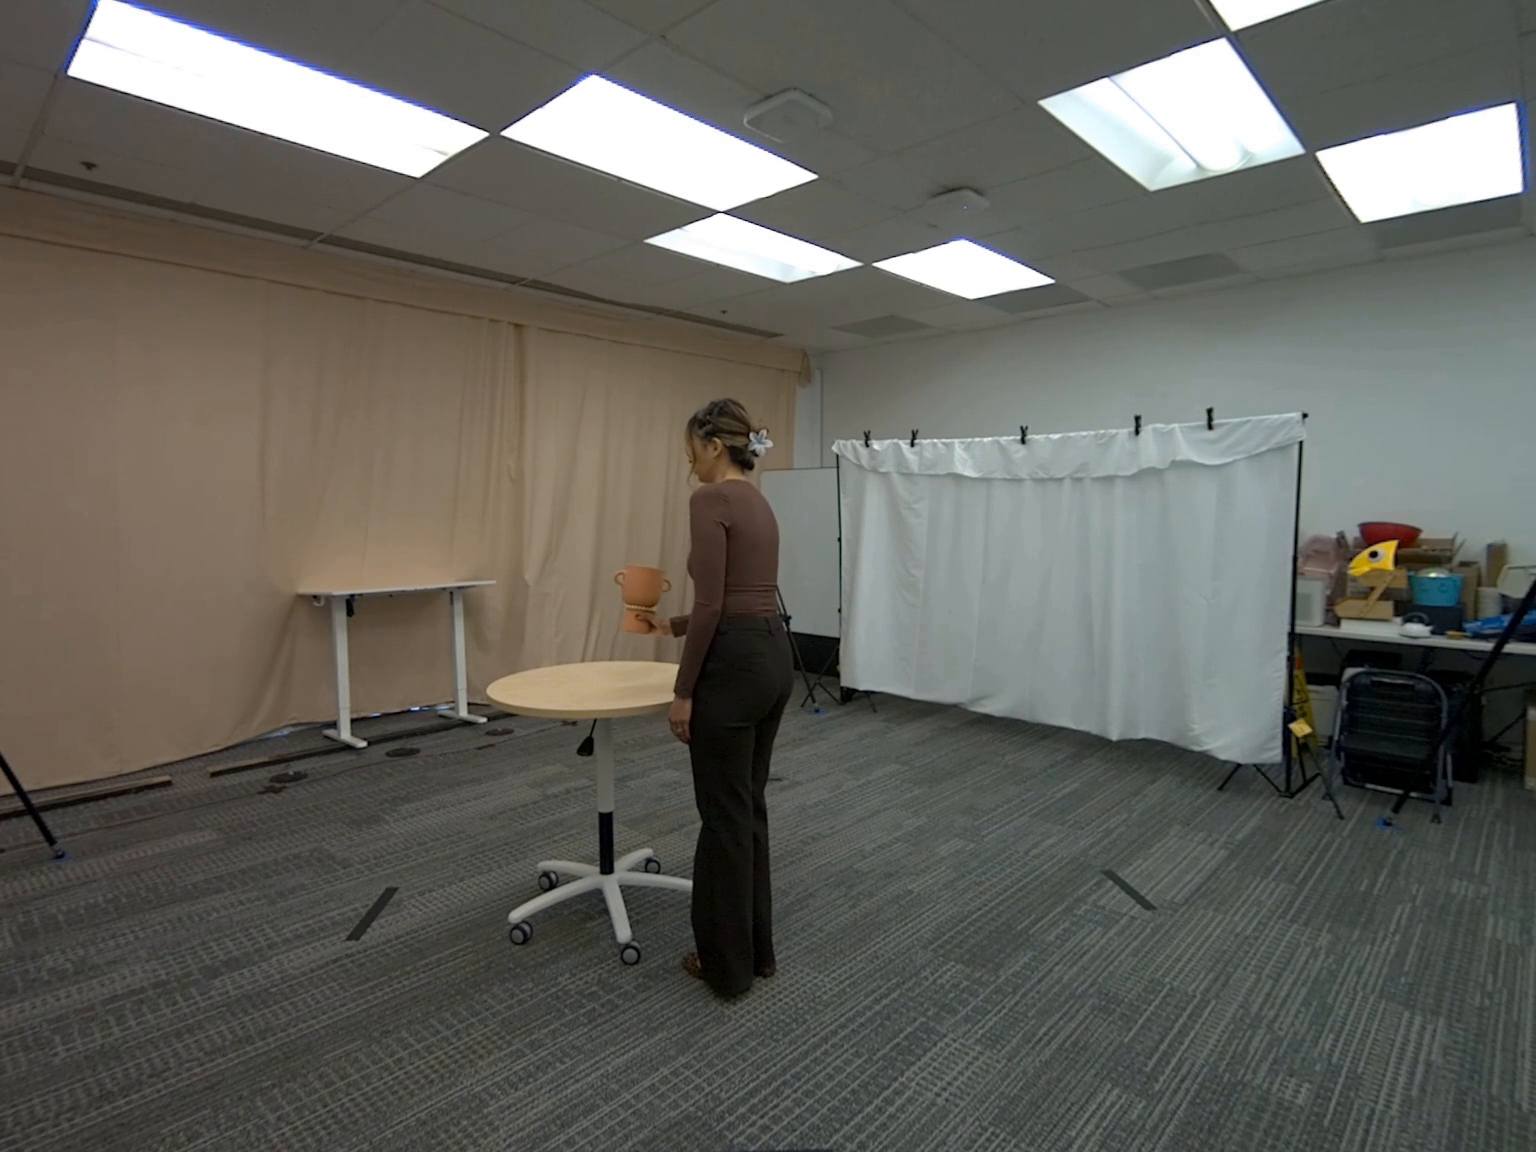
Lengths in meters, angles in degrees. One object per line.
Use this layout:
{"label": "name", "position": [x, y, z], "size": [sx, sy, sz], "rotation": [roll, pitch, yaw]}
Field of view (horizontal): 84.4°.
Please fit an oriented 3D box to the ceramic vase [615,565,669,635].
{"label": "ceramic vase", "position": [-0.420, 0.081, 2.805], "size": [0.162, 0.220, 0.131], "rotation": [6, -4, 20]}
